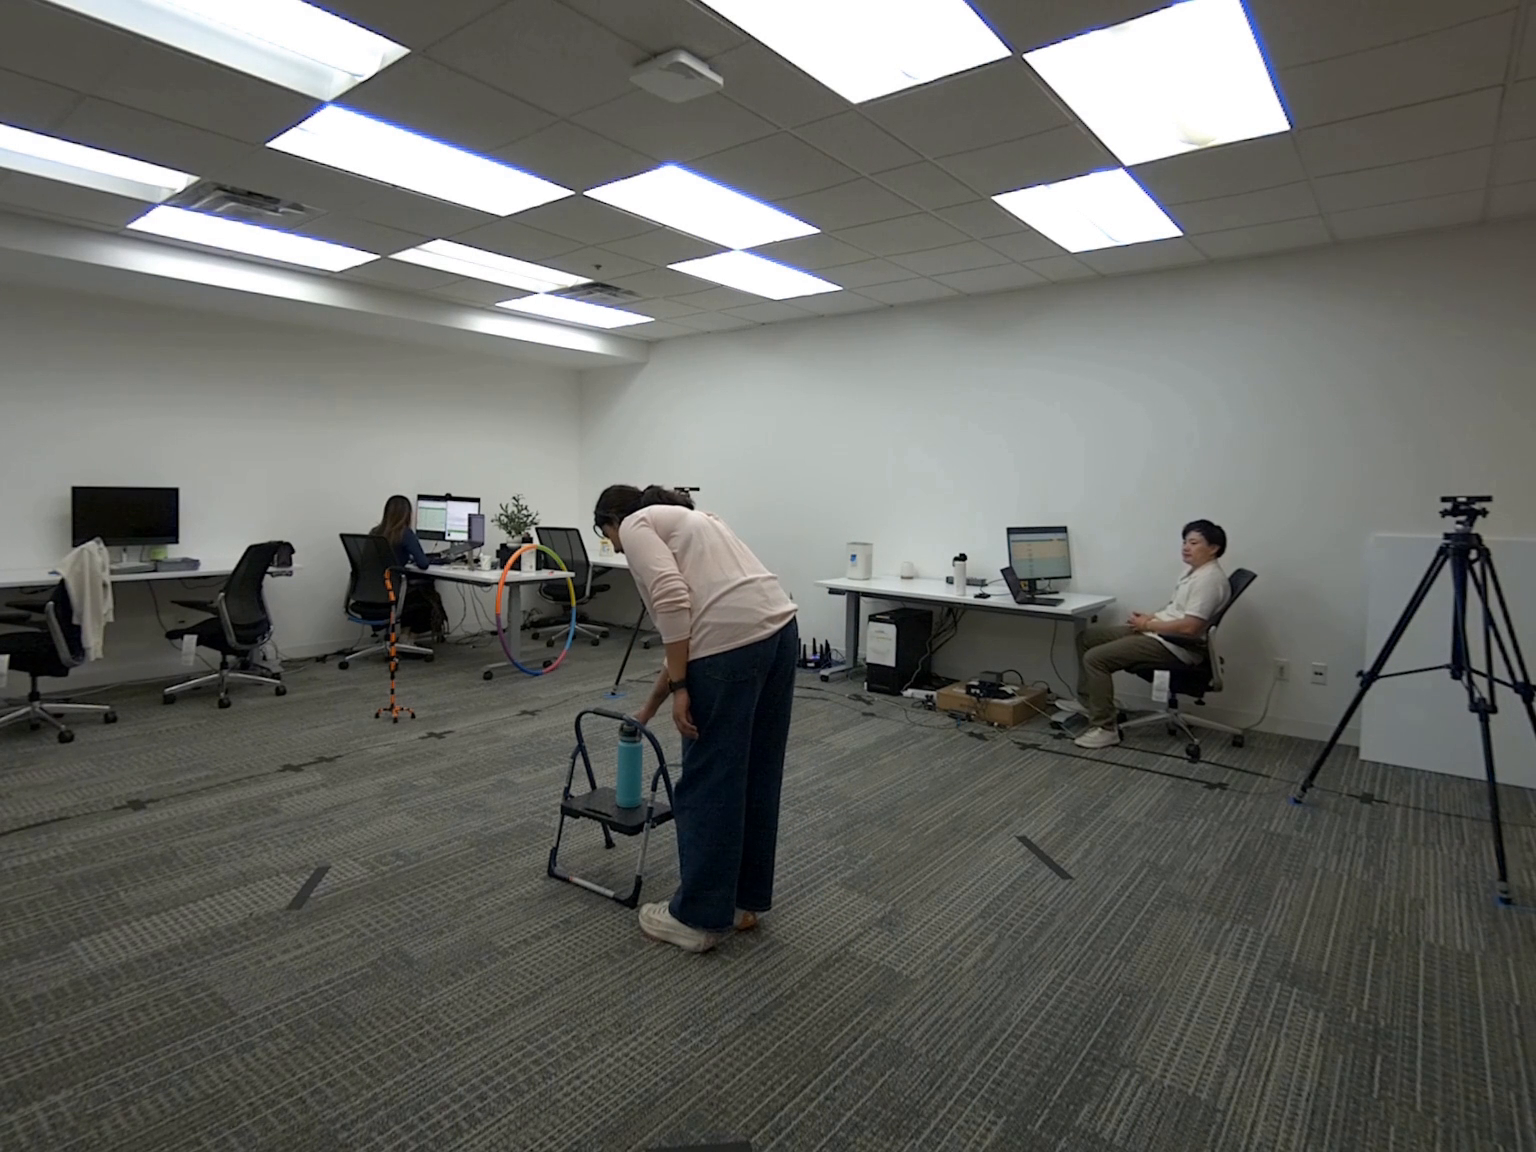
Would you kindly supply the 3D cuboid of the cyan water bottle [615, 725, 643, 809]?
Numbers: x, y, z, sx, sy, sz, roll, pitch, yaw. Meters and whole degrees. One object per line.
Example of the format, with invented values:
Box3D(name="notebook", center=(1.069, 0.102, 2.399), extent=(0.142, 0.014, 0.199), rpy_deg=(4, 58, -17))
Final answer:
Box3D(name="cyan water bottle", center=(-0.499, 0.670, 3.025), extent=(0.092, 0.283, 0.092), rpy_deg=(3, 1, -2))
